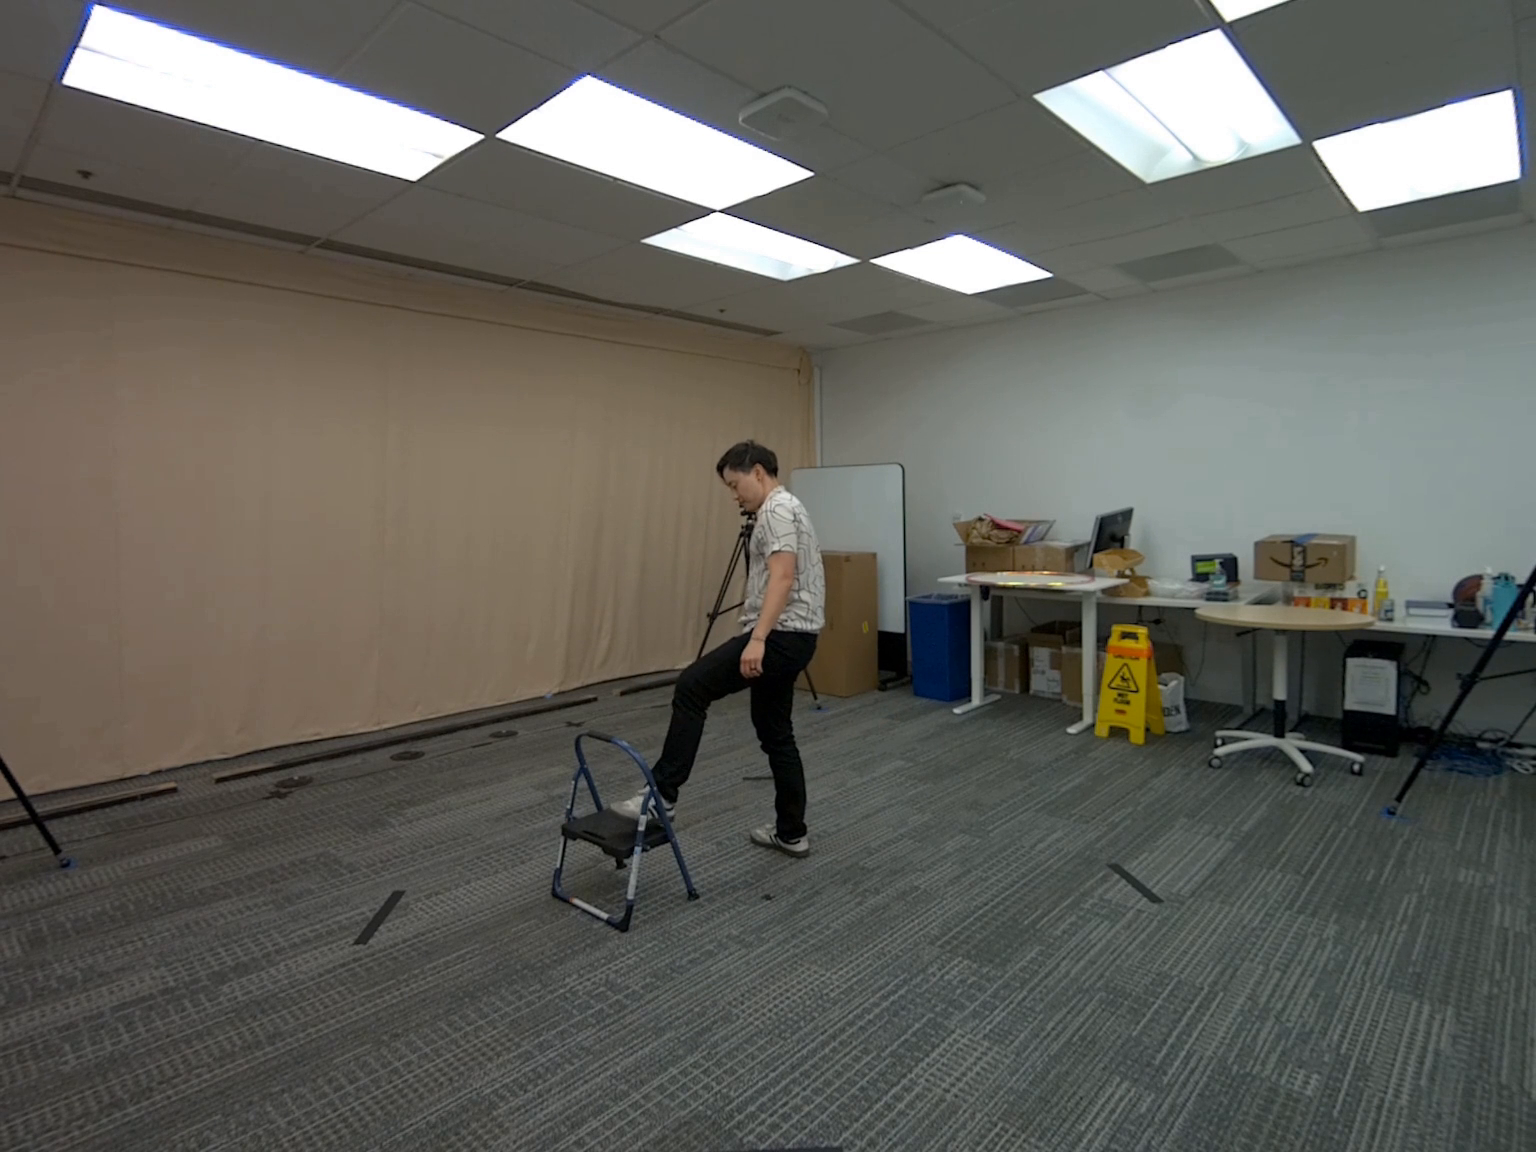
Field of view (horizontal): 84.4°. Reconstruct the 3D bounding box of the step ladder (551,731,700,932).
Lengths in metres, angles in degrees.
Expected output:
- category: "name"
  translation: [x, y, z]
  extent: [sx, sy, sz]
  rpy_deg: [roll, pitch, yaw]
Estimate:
- category: "step ladder"
  translation: [-0.522, 0.846, 3.001]
  extent: [0.445, 0.605, 0.339]
  rpy_deg: [2, 4, 41]
